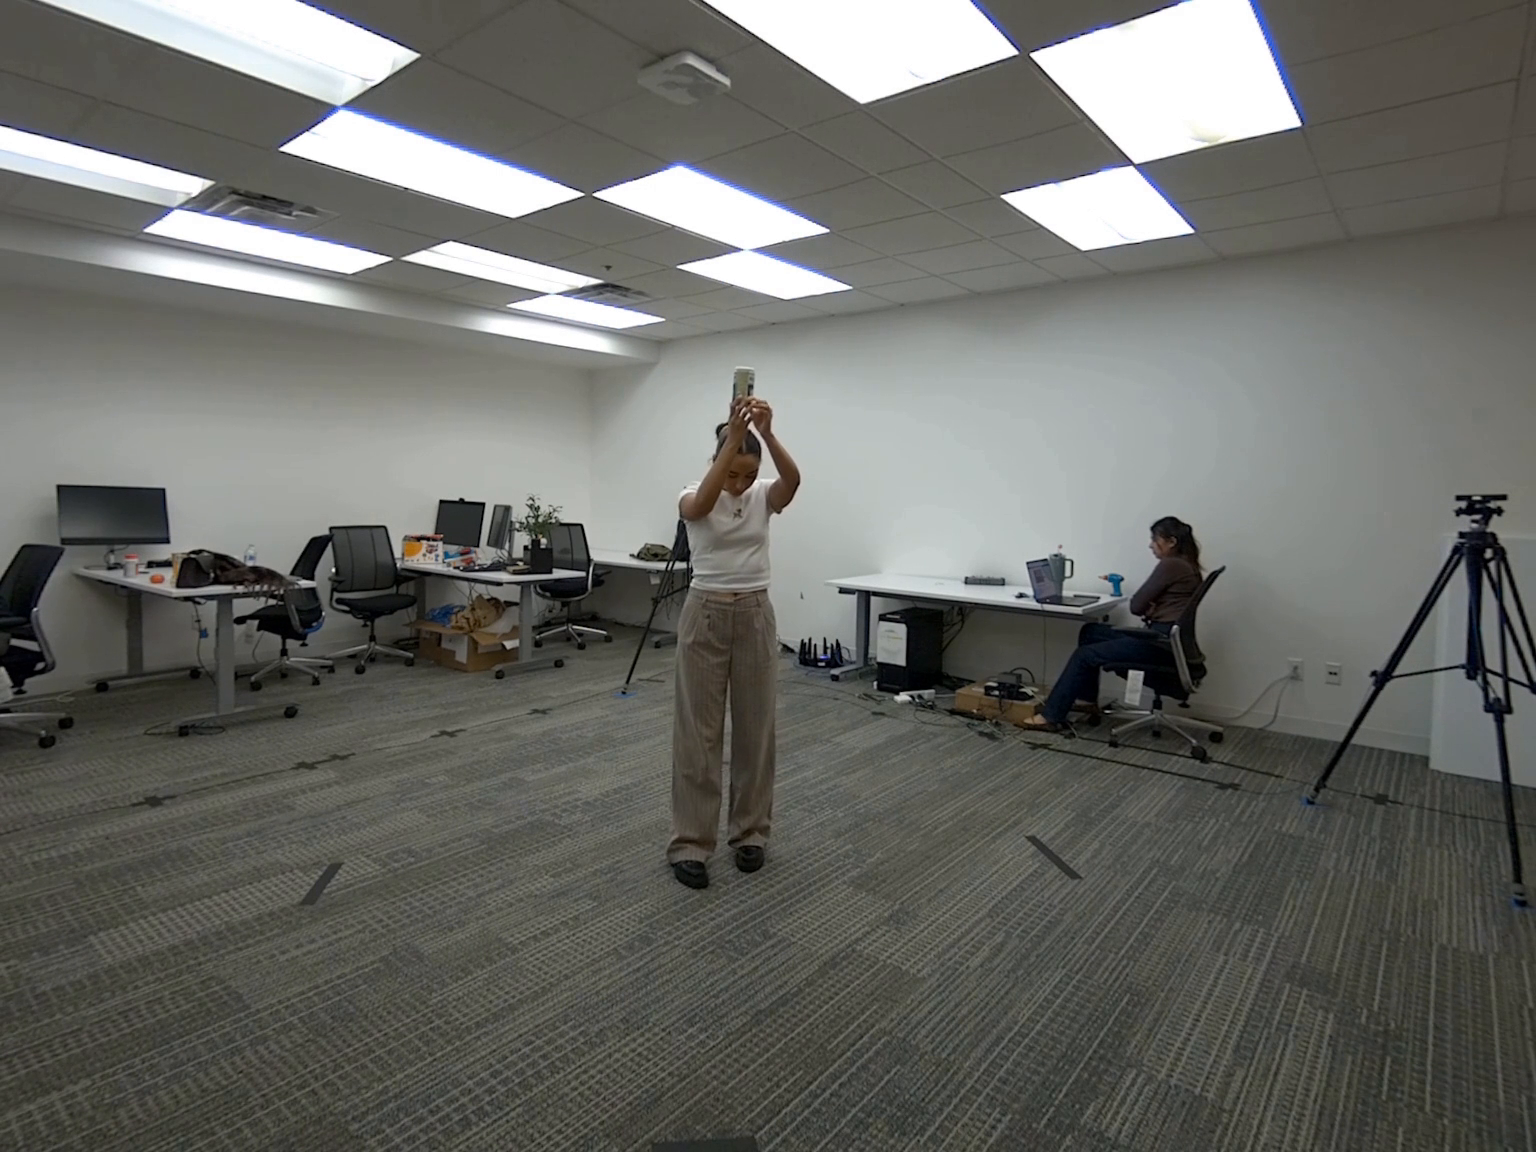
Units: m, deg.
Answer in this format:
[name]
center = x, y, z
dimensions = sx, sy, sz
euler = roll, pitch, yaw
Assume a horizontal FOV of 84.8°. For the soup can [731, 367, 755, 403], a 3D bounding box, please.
[soup can]
center = -0.089, -0.603, 2.698
dimensions = 0.067, 0.121, 0.067
euler = 4, 5, -2
